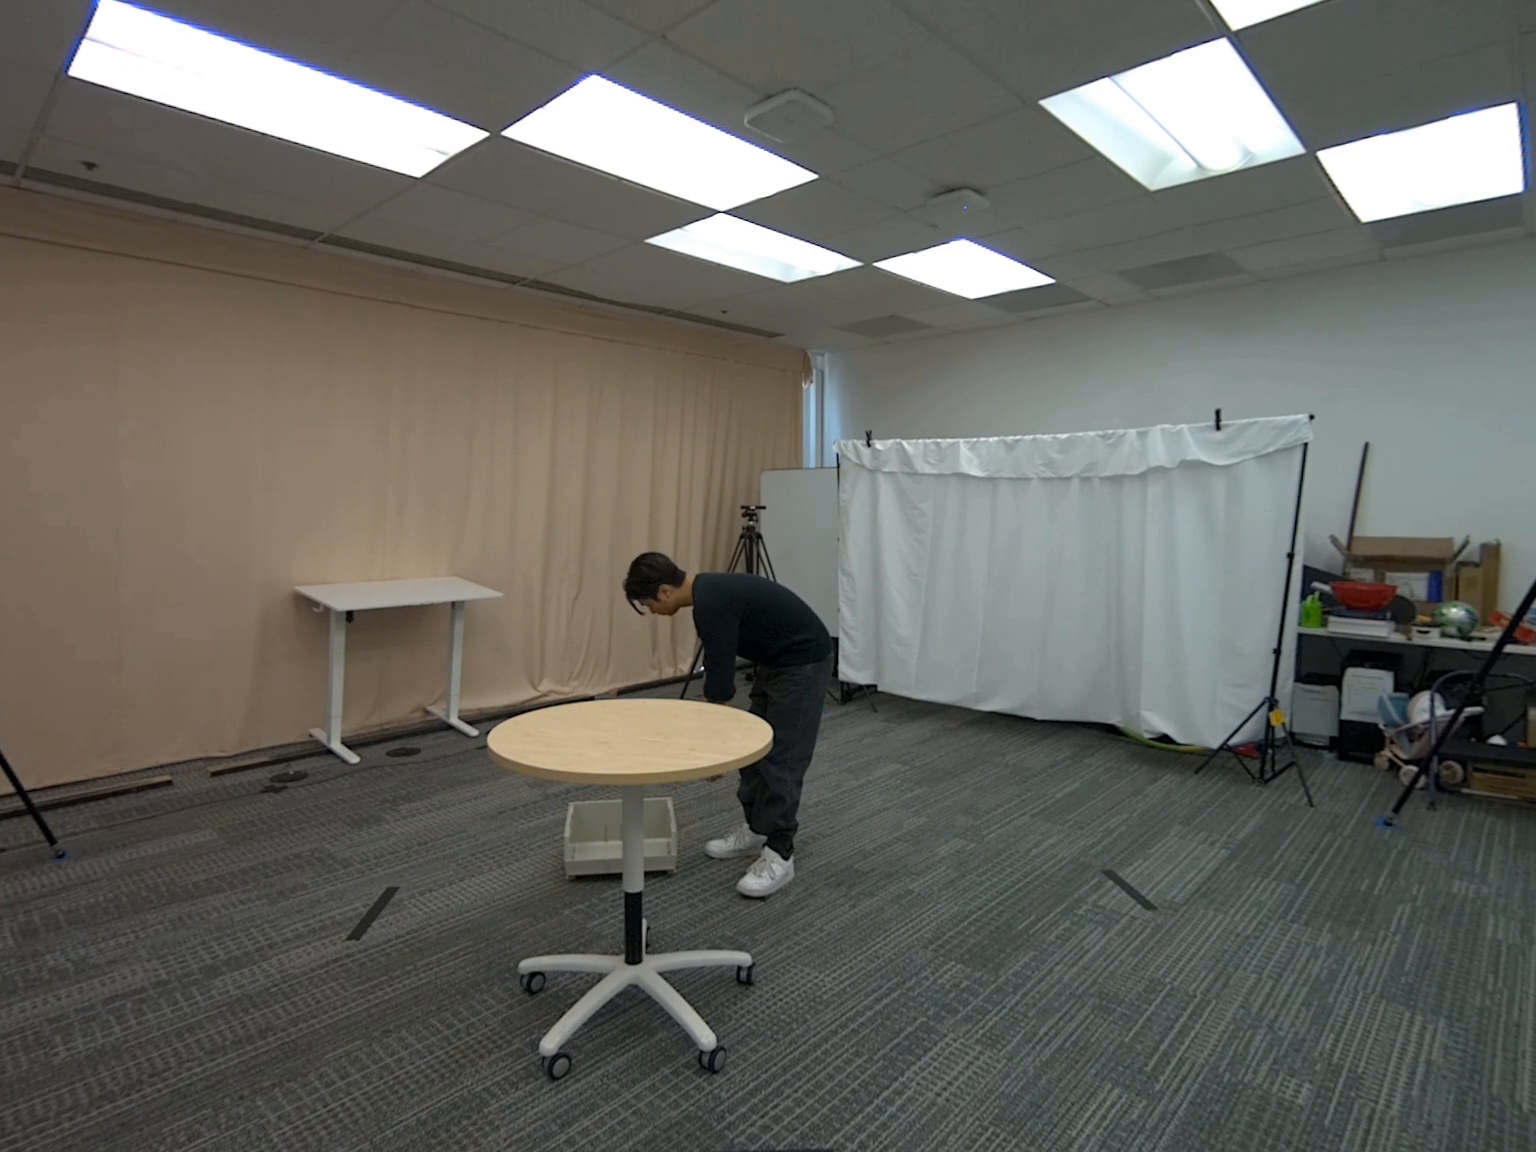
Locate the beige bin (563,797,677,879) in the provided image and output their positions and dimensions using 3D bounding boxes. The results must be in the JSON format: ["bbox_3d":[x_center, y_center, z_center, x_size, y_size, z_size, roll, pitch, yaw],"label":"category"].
[{"bbox_3d":[-0.578,1.037,3.318,0.419,0.188,0.381,-2,4,-7],"label":"beige bin"}]
